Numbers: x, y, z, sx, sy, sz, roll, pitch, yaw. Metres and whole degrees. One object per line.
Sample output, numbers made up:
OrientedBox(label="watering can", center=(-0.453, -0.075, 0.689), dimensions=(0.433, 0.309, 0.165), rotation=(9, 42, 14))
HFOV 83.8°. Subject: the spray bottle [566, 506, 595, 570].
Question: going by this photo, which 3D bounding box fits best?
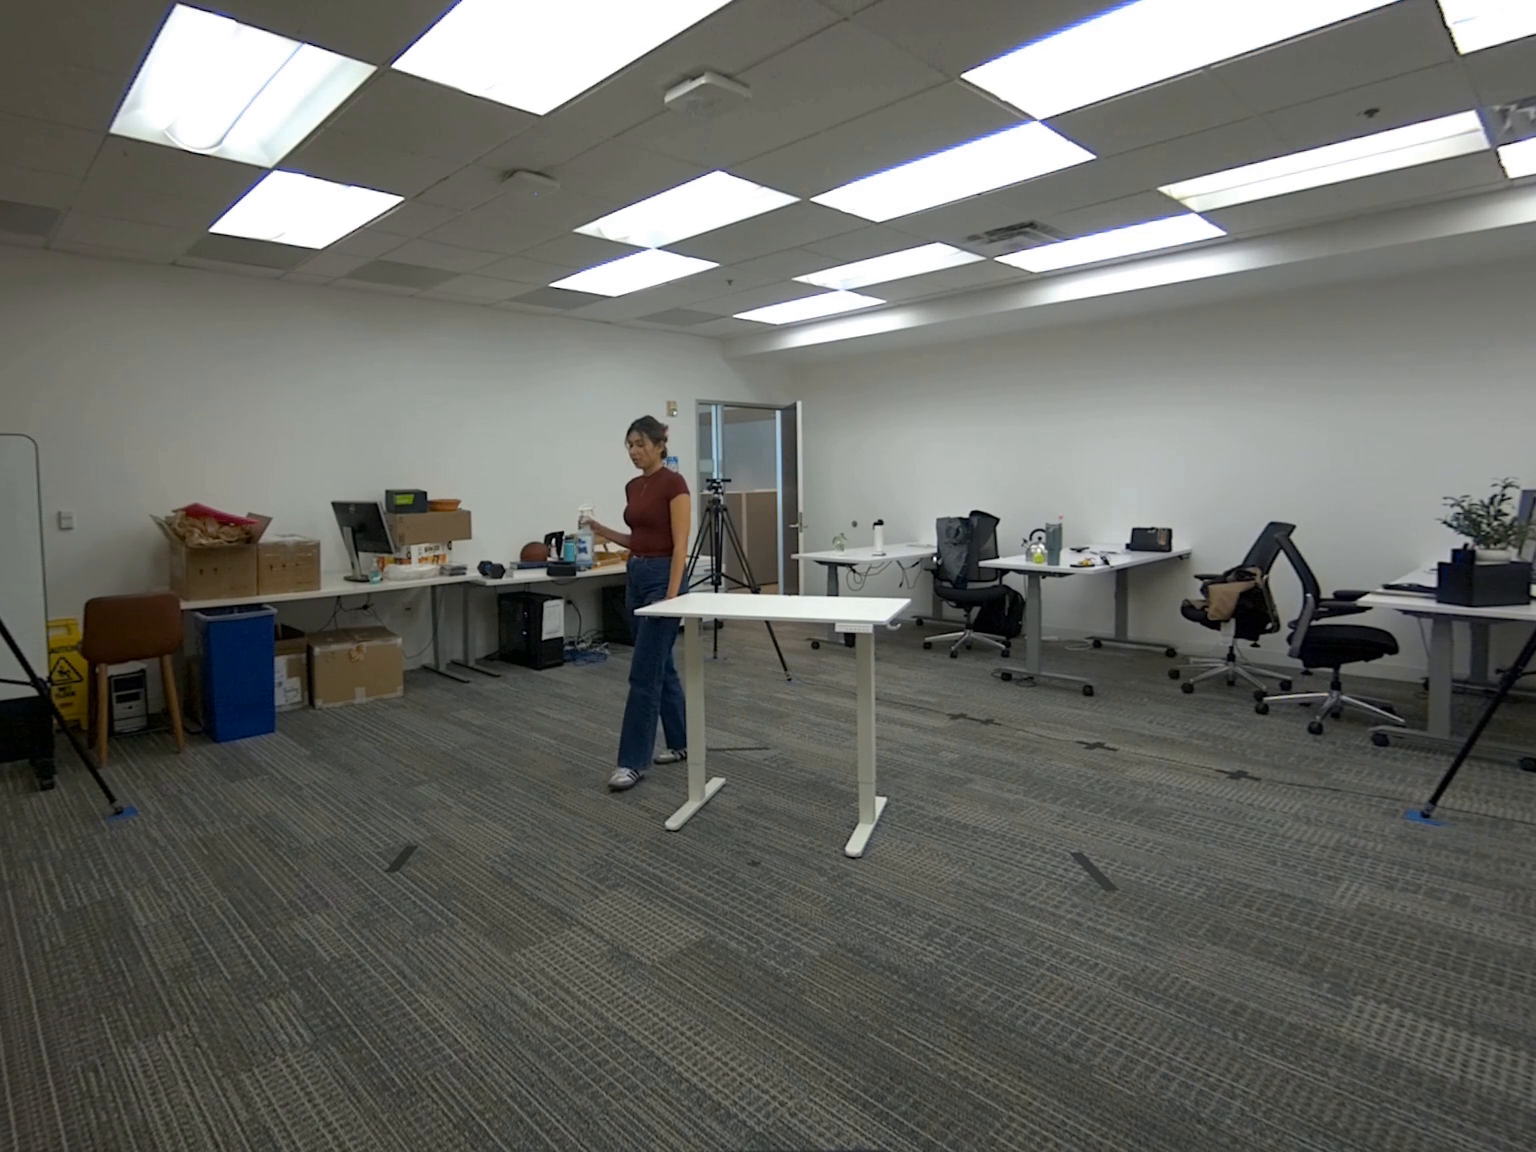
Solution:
OrientedBox(label="spray bottle", center=(-0.884, -0.201, 4.141), dimensions=(0.089, 0.297, 0.088), rotation=(1, 2, -14))
